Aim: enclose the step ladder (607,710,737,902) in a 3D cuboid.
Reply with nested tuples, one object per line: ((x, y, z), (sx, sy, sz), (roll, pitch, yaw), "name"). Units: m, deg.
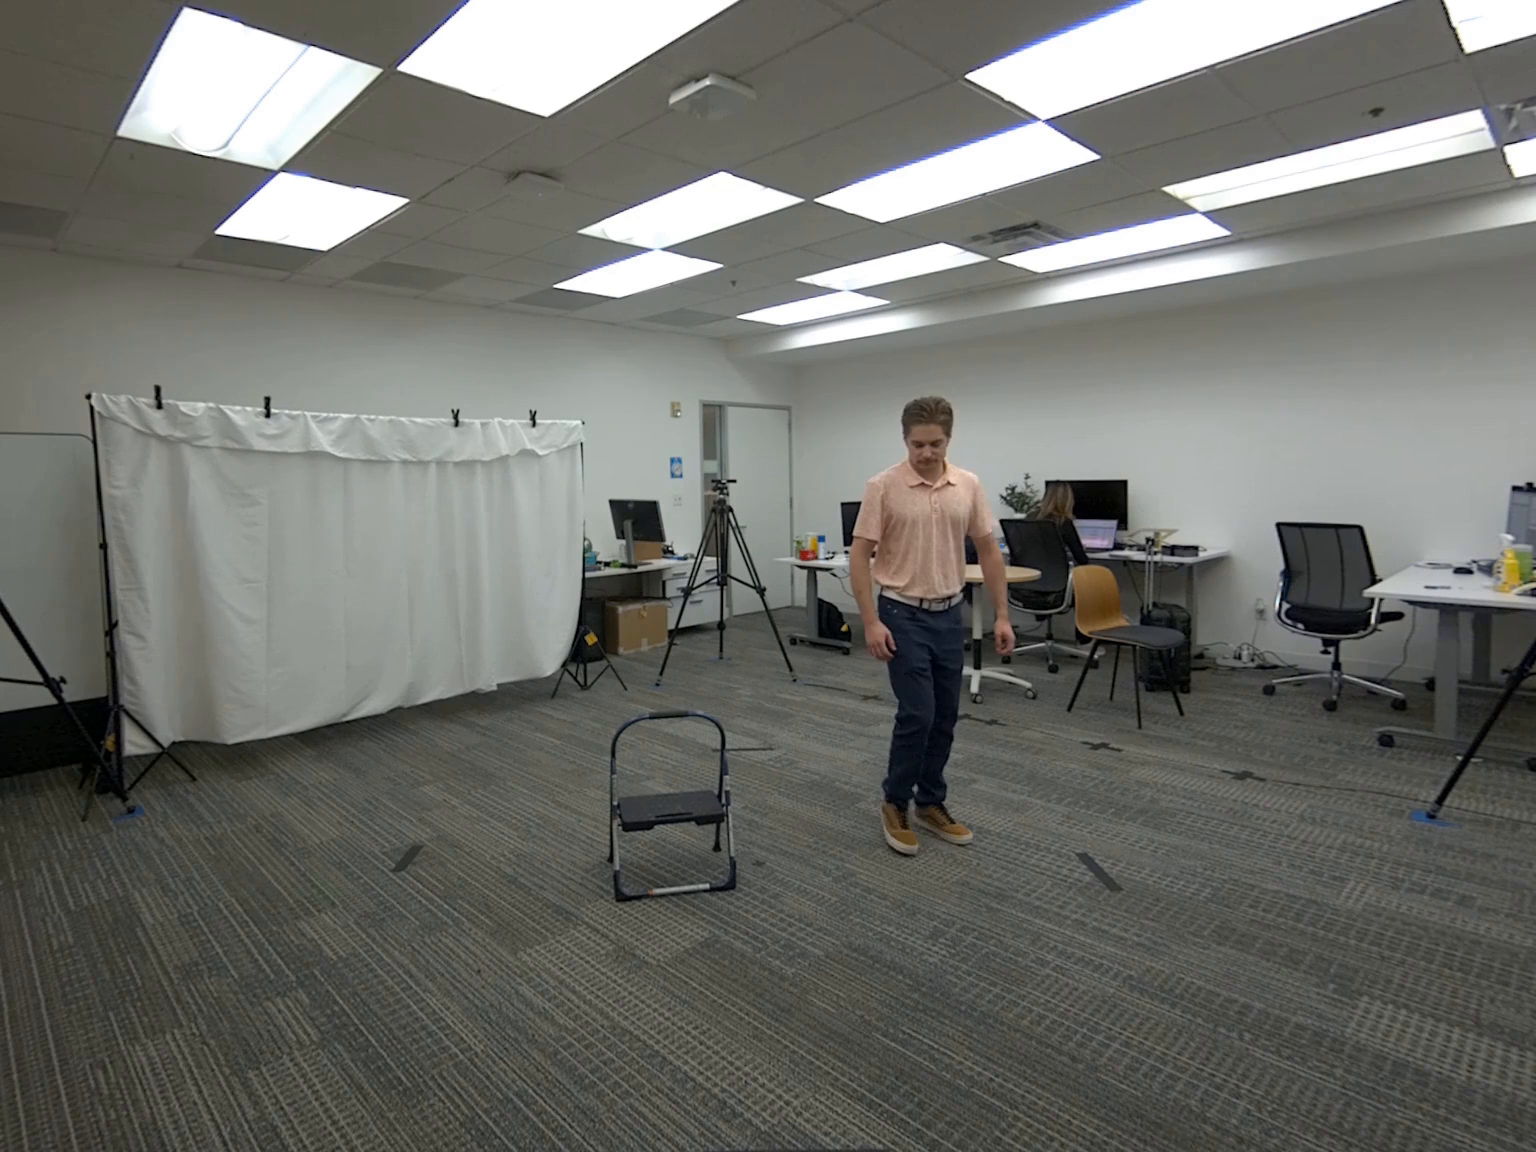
((-0.352, 0.760, 3.026), (0.425, 0.604, 0.355), (-2, 4, -13), "step ladder")
